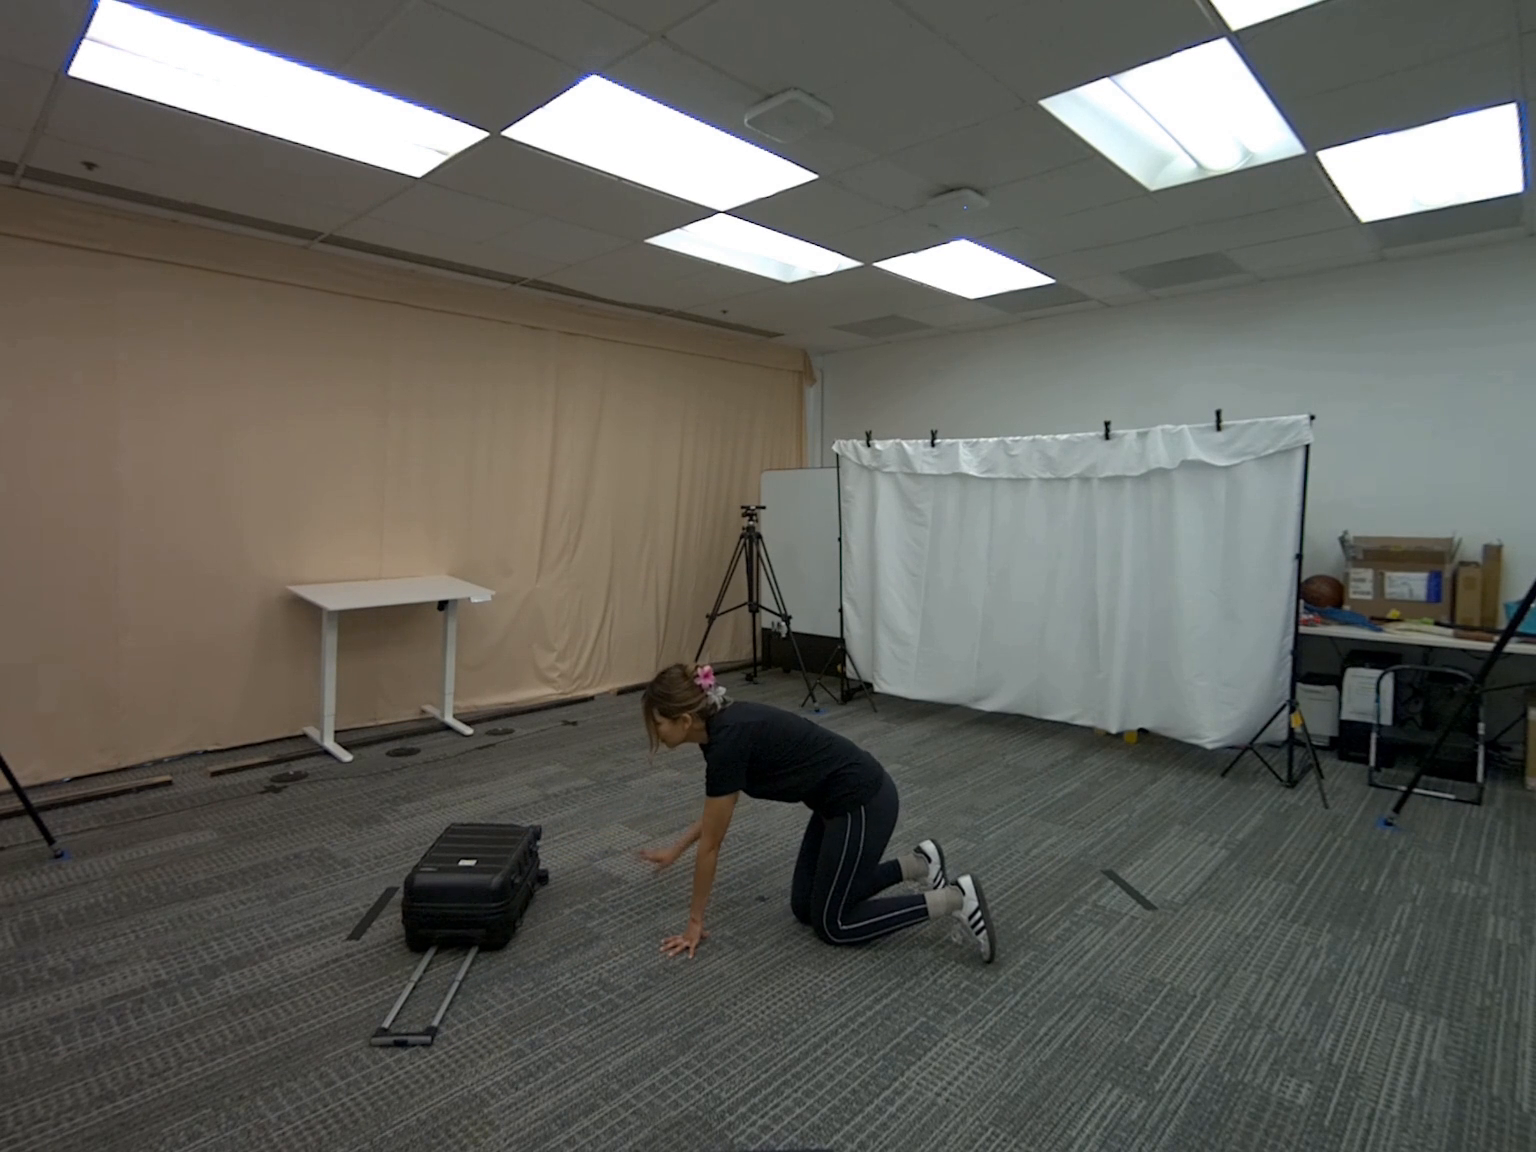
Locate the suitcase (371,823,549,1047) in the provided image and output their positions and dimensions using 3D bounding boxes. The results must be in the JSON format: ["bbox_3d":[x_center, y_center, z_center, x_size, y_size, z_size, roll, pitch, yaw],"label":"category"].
[{"bbox_3d":[-0.983,1.058,2.664,0.383,0.257,0.981,1,3,-3],"label":"suitcase"}]
